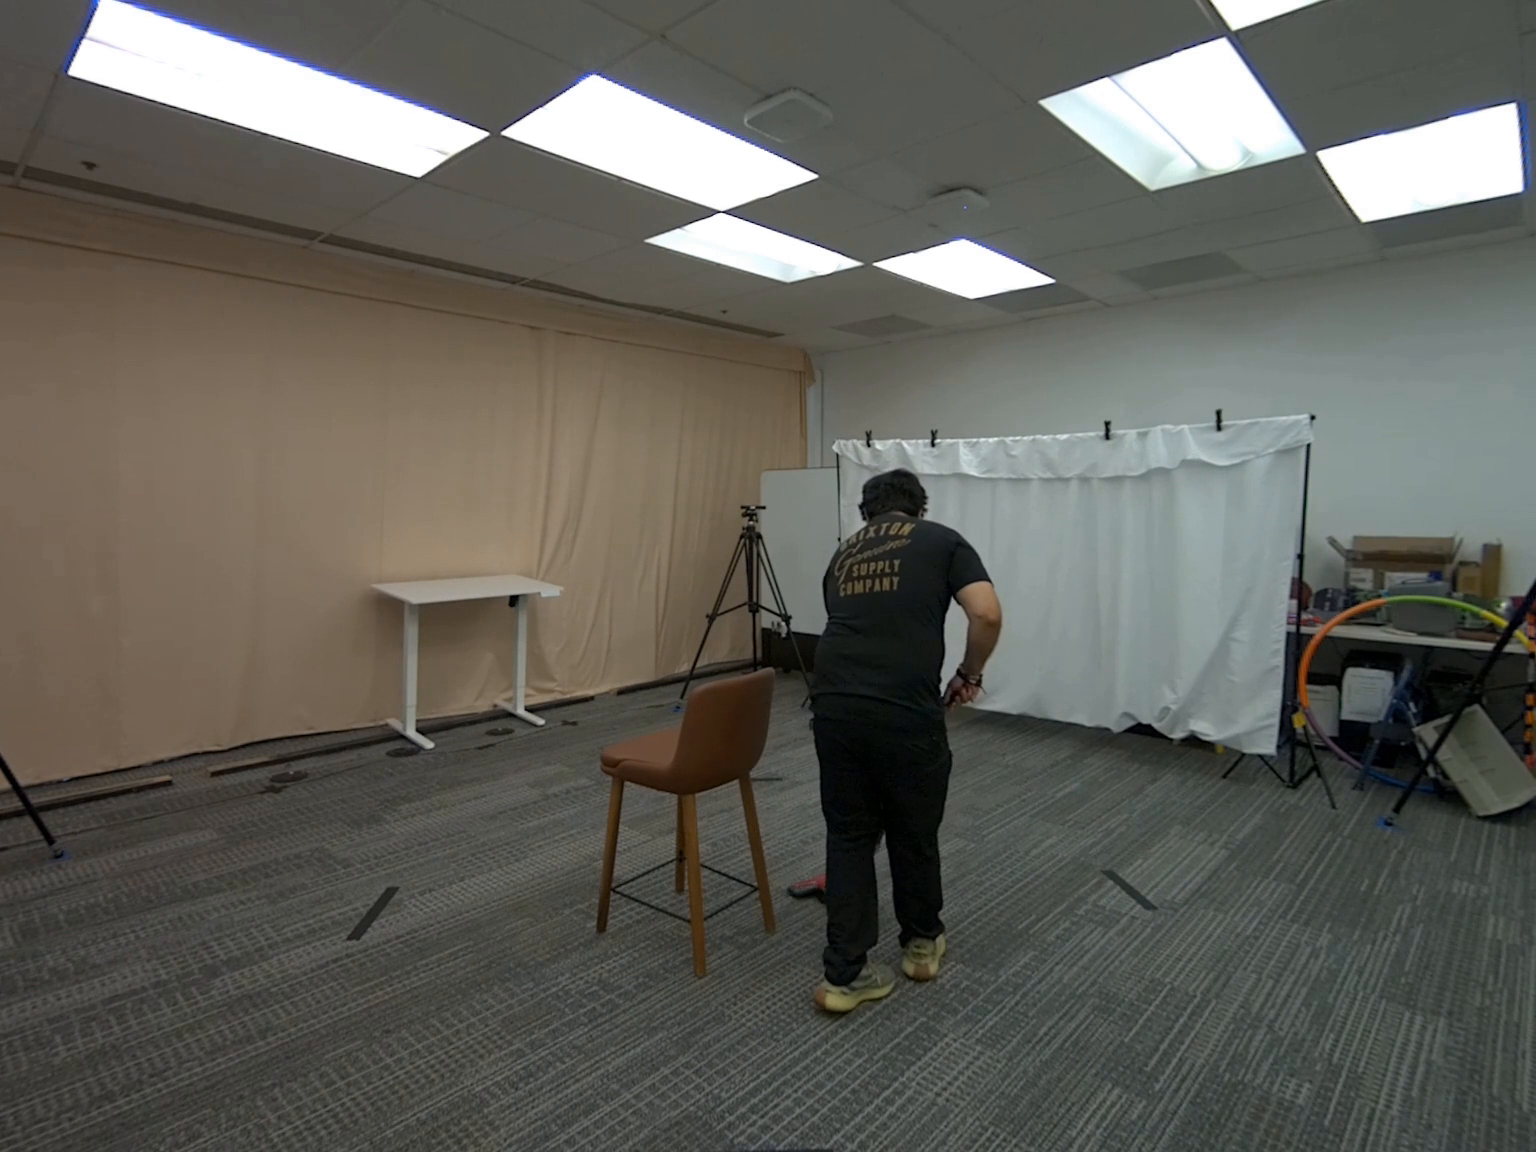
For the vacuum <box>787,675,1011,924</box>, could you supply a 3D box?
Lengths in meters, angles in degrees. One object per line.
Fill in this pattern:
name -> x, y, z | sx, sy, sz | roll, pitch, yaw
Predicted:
vacuum -> 0.389, 0.740, 2.746 | 0.245, 1.045, 0.149 | -3, 42, -36
